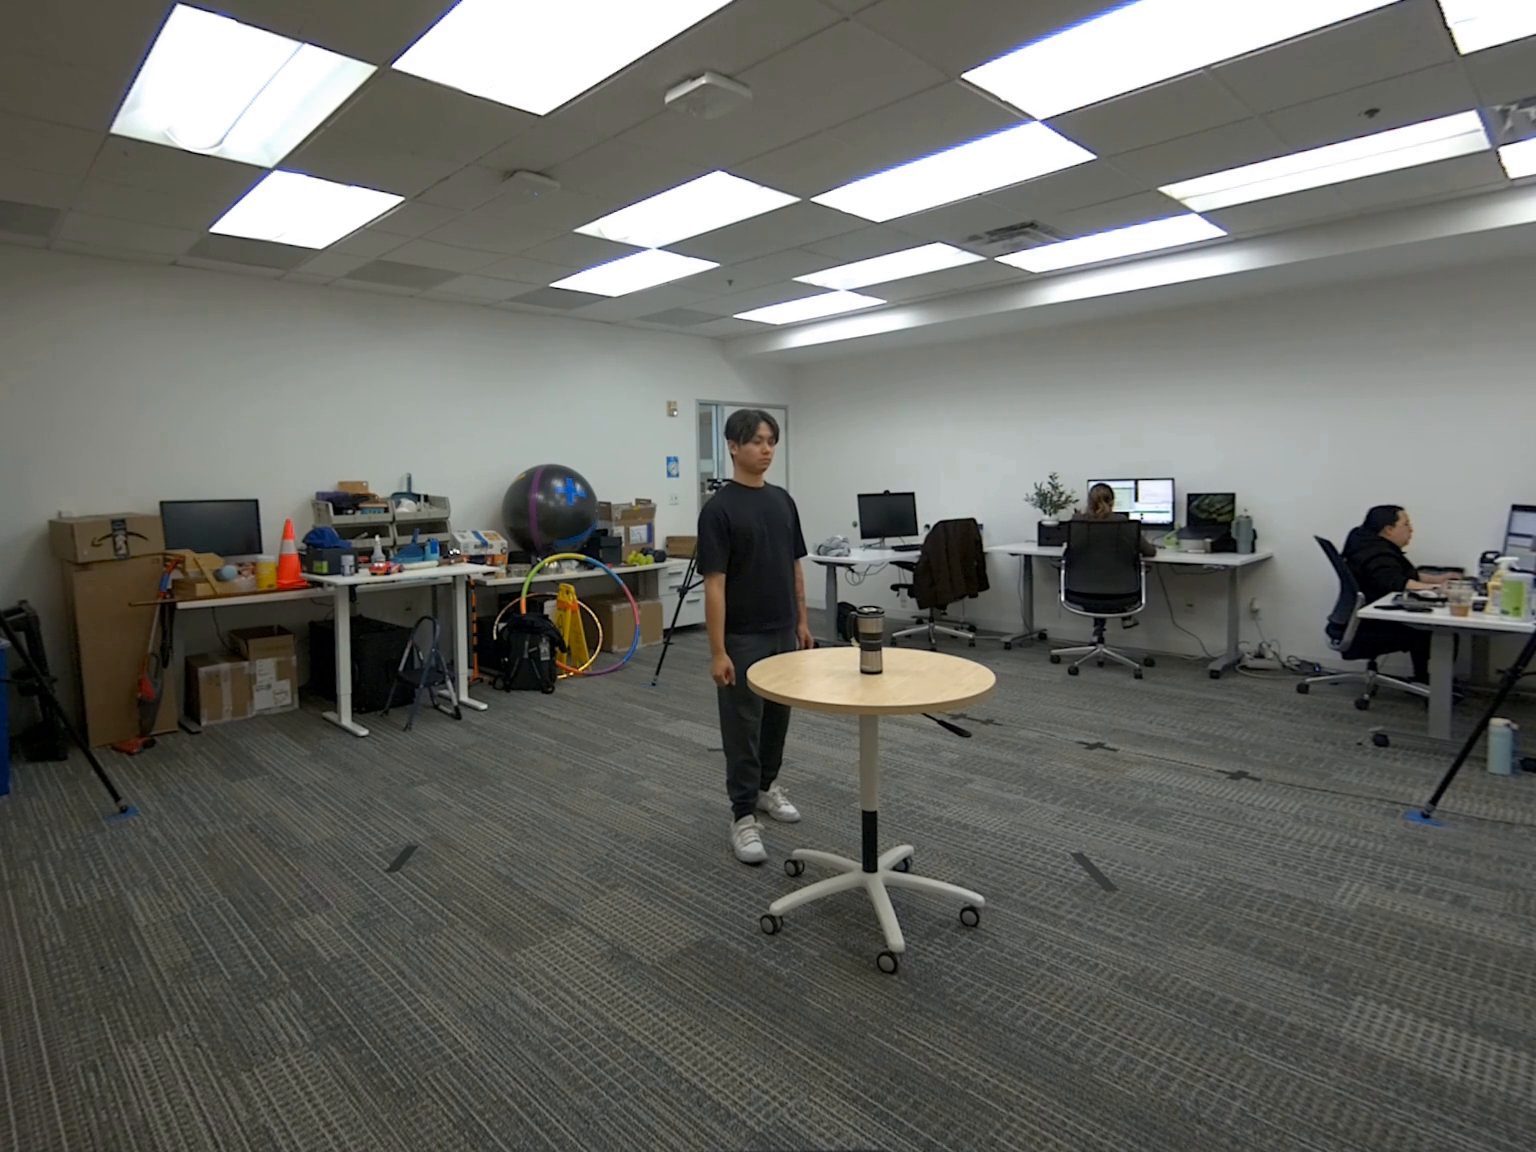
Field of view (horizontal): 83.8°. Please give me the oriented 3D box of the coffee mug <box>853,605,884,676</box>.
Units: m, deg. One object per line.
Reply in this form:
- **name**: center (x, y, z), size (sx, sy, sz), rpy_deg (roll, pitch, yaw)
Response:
- **coffee mug**: center (0.319, 0.201, 2.696), size (0.086, 0.201, 0.126), rpy_deg (-9, 13, -26)
